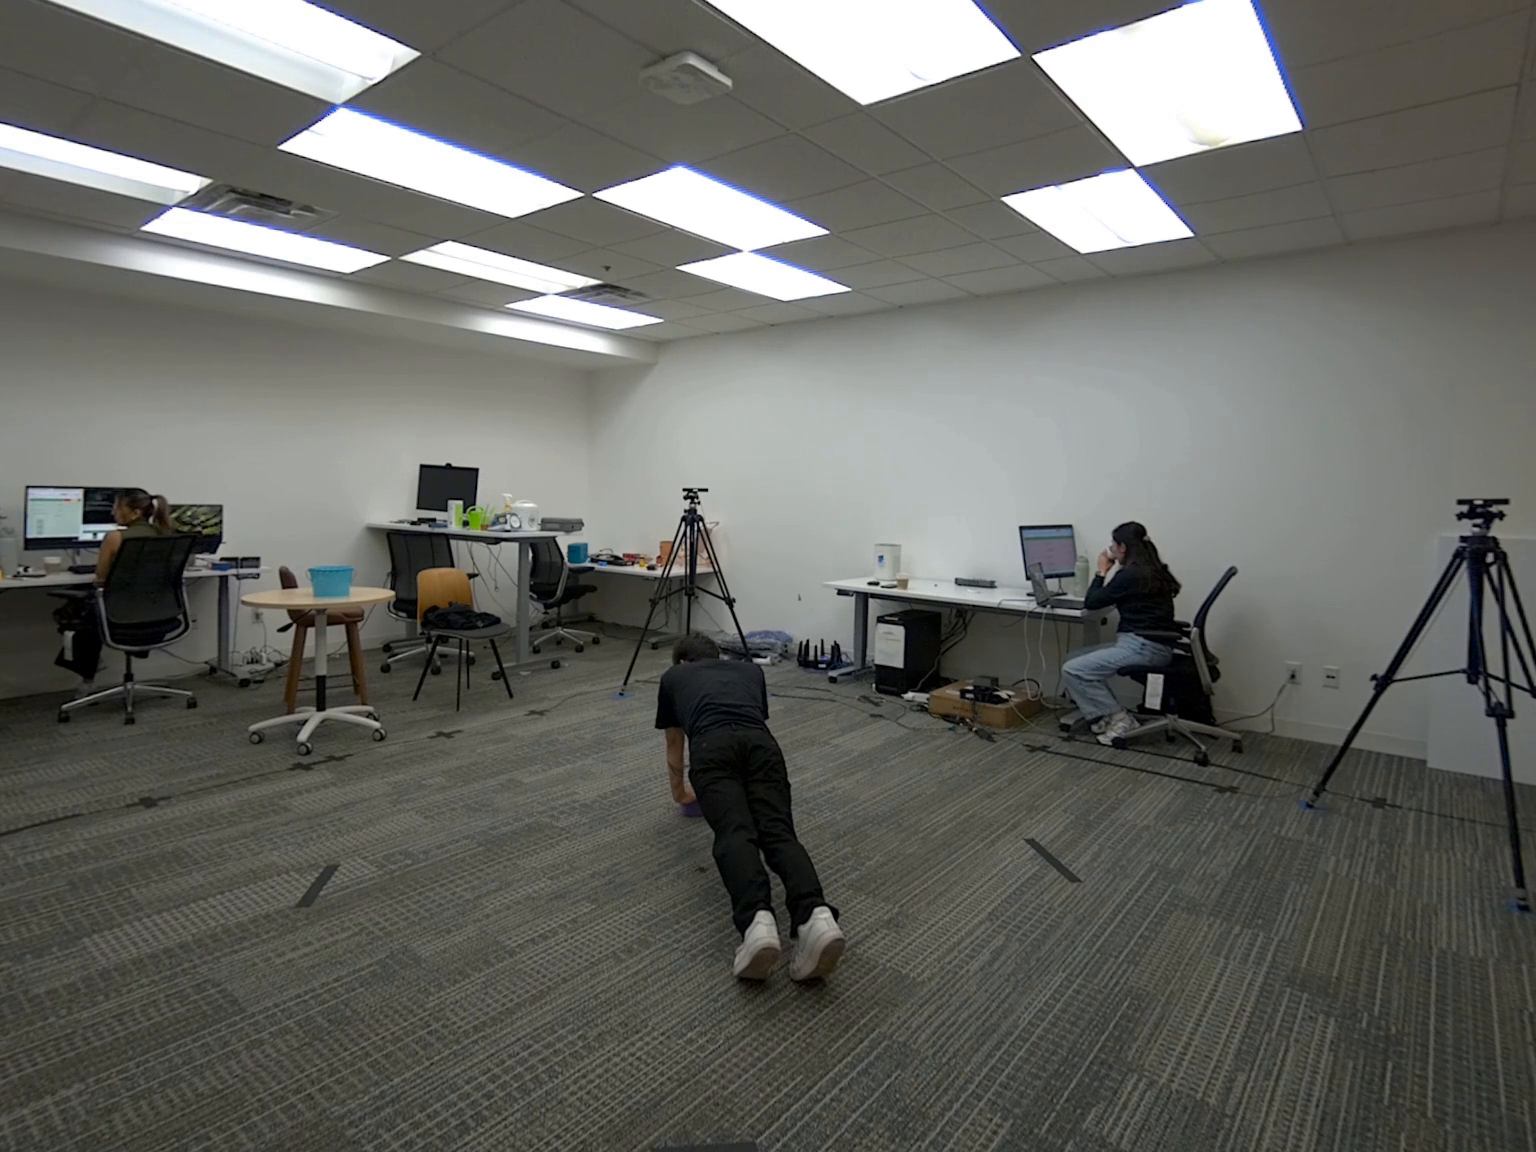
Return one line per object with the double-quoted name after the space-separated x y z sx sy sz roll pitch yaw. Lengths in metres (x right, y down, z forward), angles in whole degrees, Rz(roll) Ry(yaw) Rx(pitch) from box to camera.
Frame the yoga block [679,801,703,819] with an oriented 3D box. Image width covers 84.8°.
-0.268 0.969 3.686 0.226 0.076 0.151 -2 5 -13 "yoga block"
